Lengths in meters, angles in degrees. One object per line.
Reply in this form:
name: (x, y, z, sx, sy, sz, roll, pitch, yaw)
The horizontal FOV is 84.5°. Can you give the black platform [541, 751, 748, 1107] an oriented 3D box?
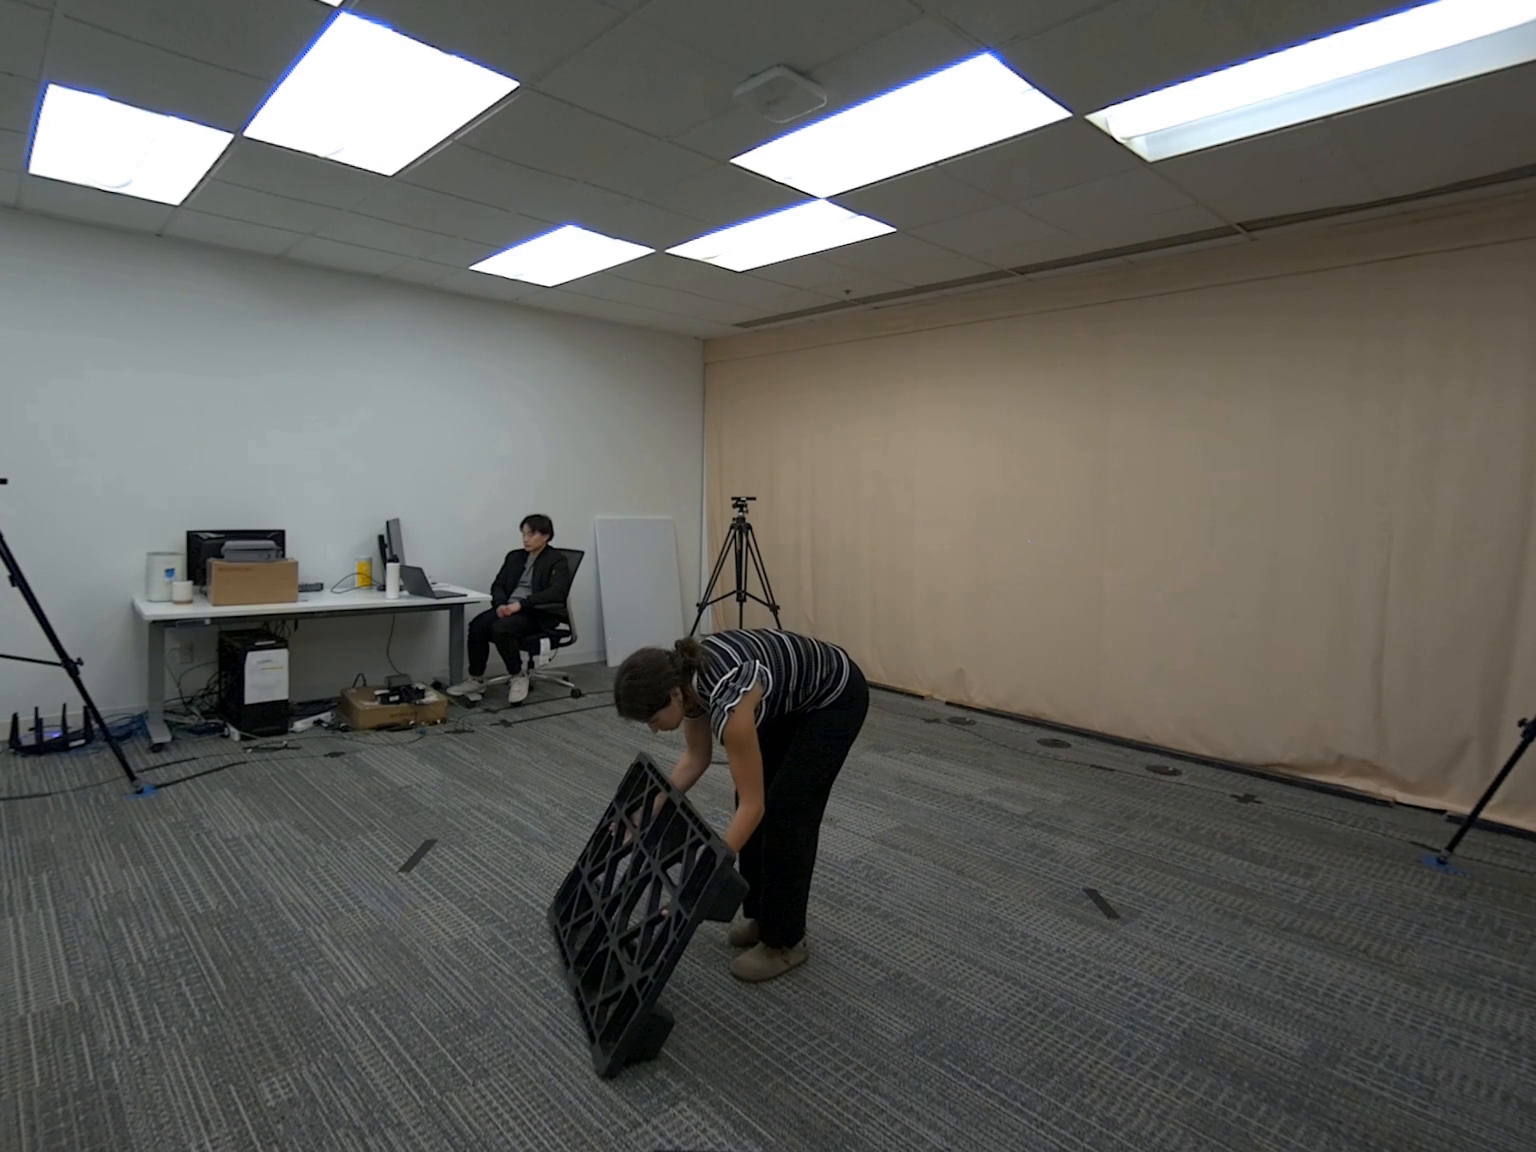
black platform: (-0.366, 0.921, 2.409, 0.140, 0.606, 0.822, 33, -7, -23)
